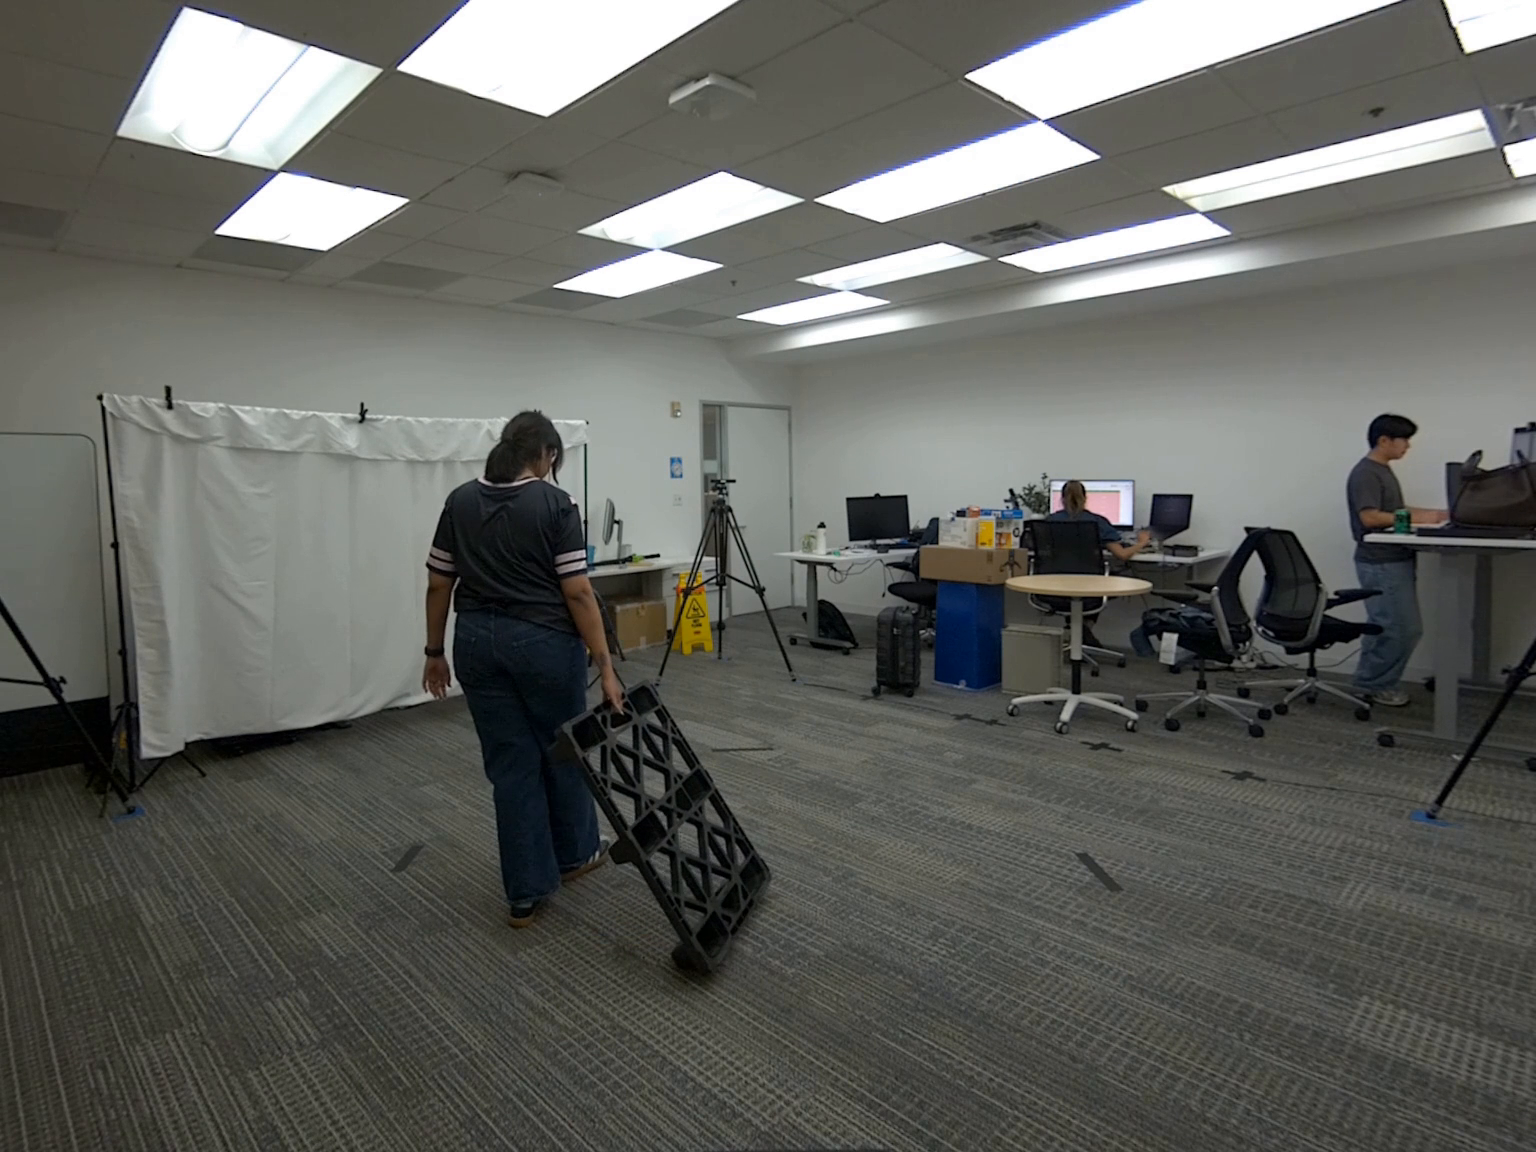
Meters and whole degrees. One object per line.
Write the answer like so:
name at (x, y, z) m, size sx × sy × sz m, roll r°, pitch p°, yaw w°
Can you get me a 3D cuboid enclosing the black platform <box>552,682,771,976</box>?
black platform at (-0.331, 0.764, 2.690) m, size 0.144 × 0.813 × 0.597 m, roll -35°, pitch -6°, yaw 18°
